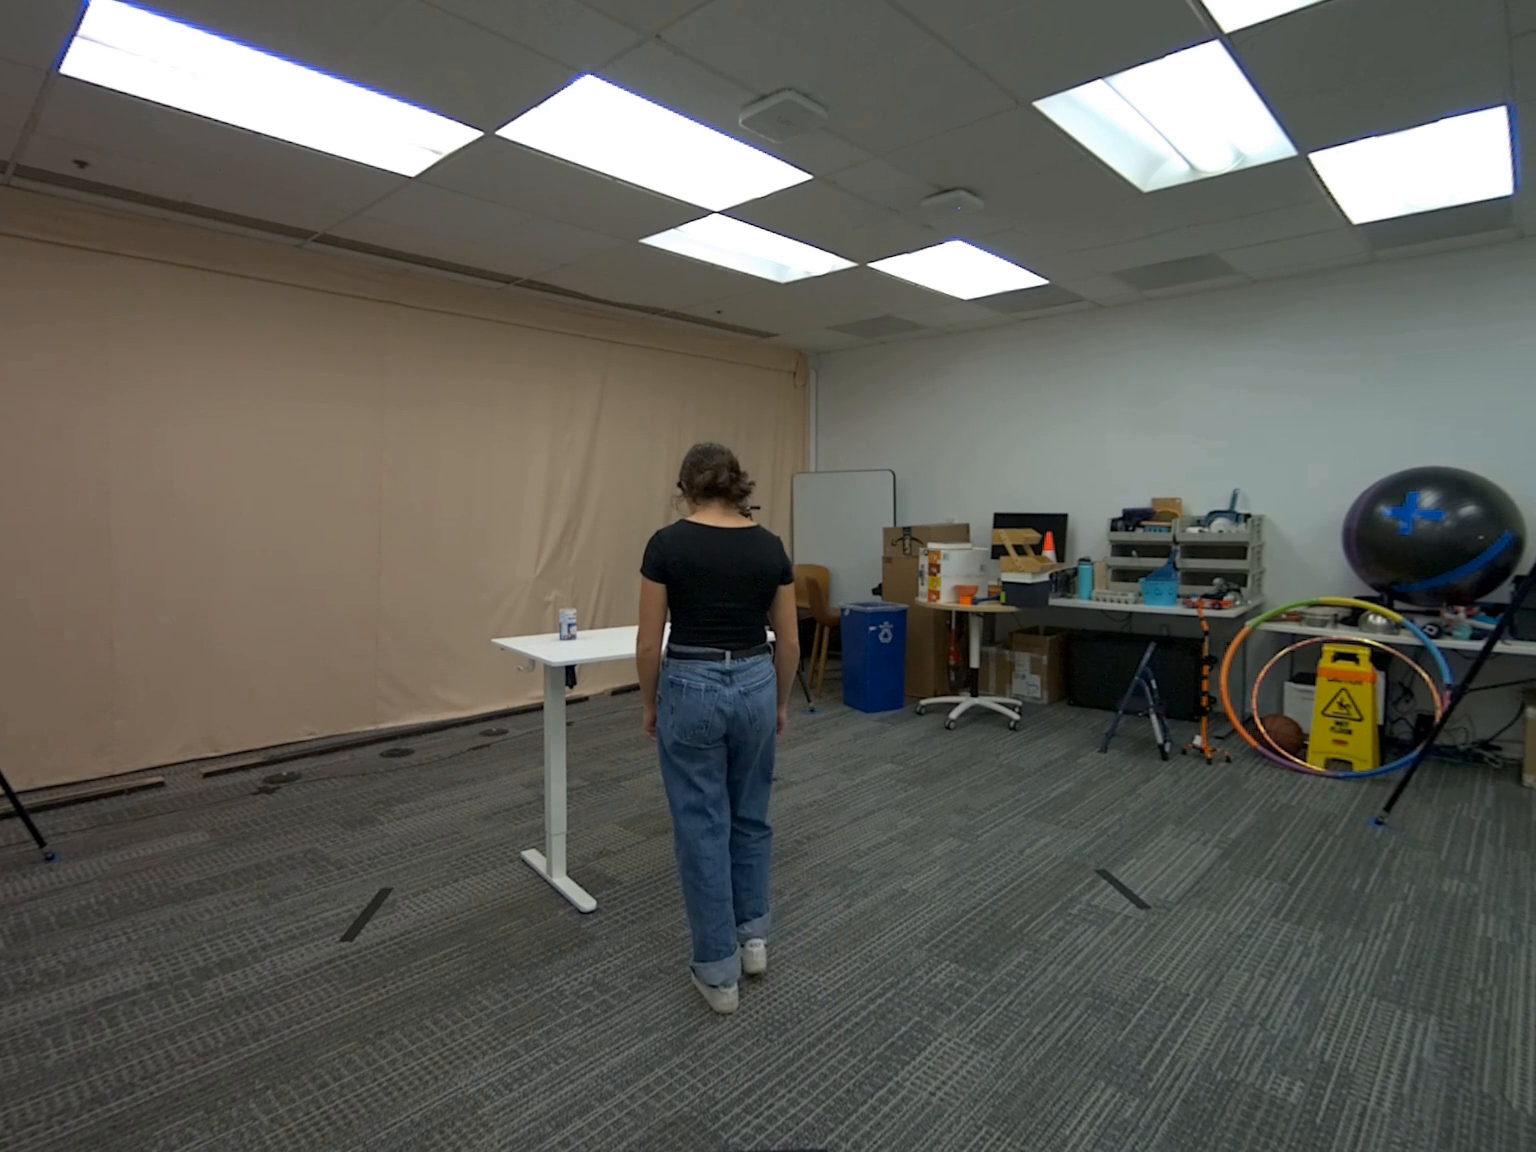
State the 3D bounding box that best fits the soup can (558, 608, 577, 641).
[{"bbox_3d":[-0.779,0.190,3.251,0.067,0.121,0.067,-3,3,-2],"label":"soup can"}]
